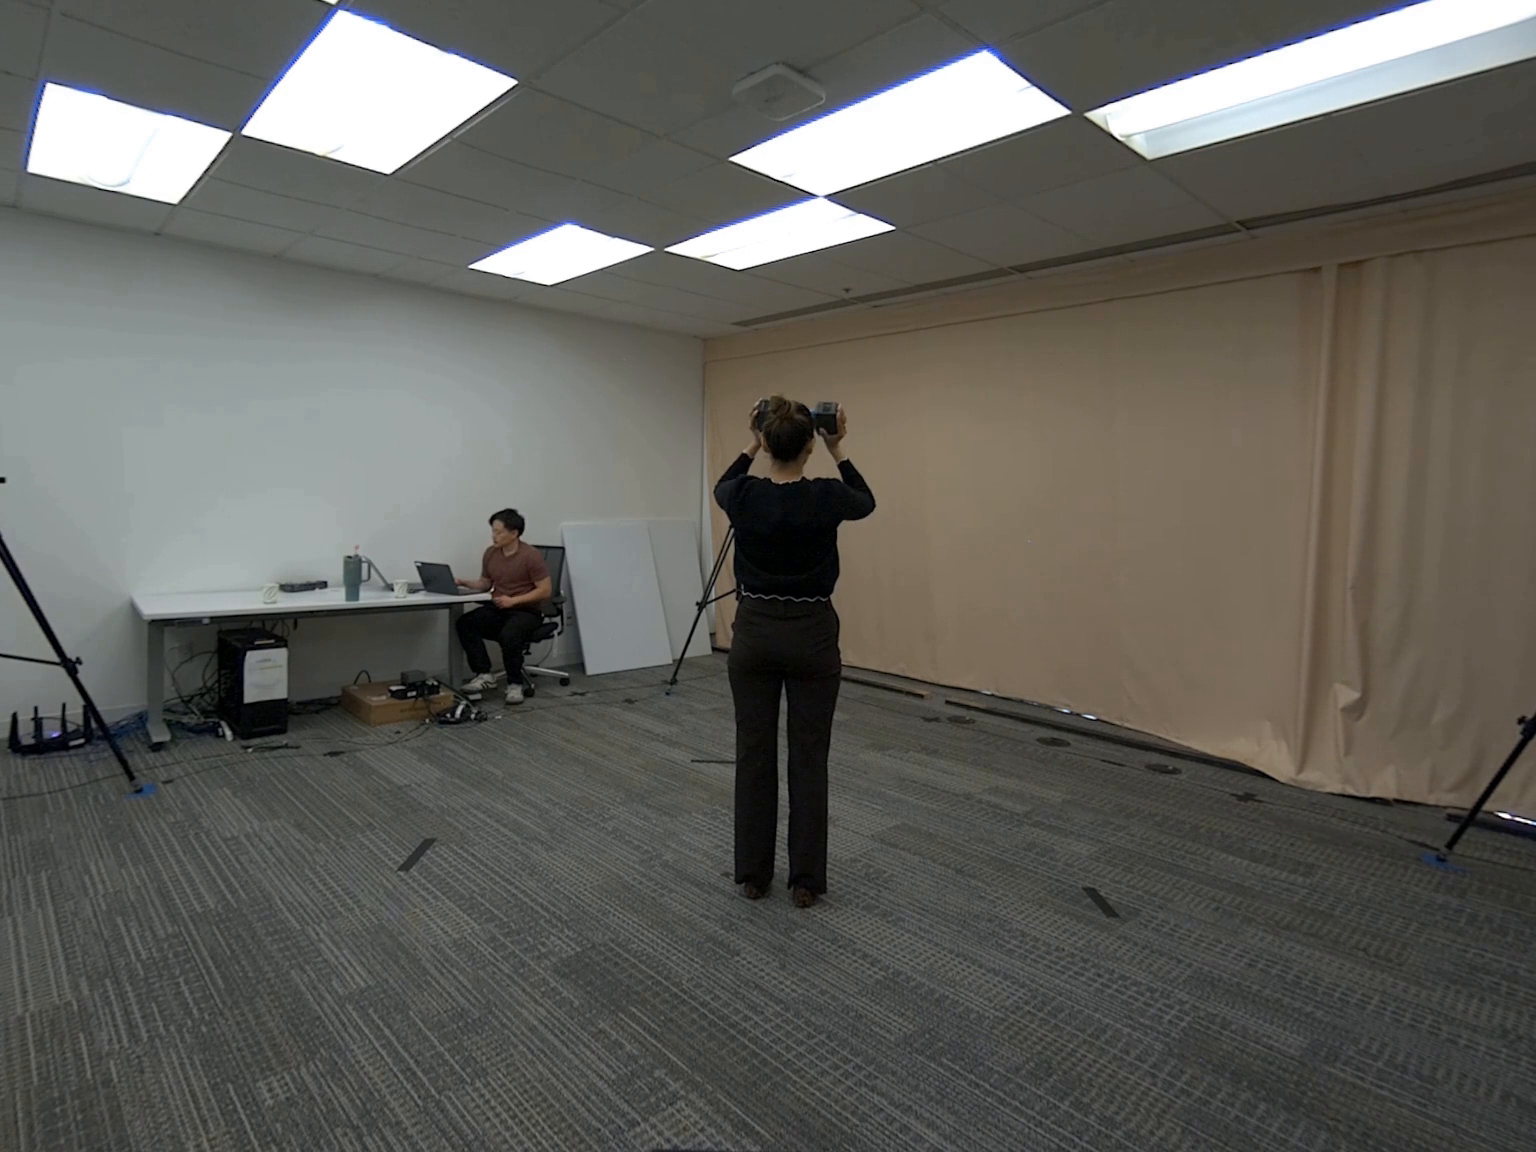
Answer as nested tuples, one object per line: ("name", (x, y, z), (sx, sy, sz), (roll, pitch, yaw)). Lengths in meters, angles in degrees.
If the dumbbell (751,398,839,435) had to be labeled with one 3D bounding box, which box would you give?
("dumbbell", (0.116, -0.556, 2.971), (0.296, 0.109, 0.121), (4, -9, 9))
